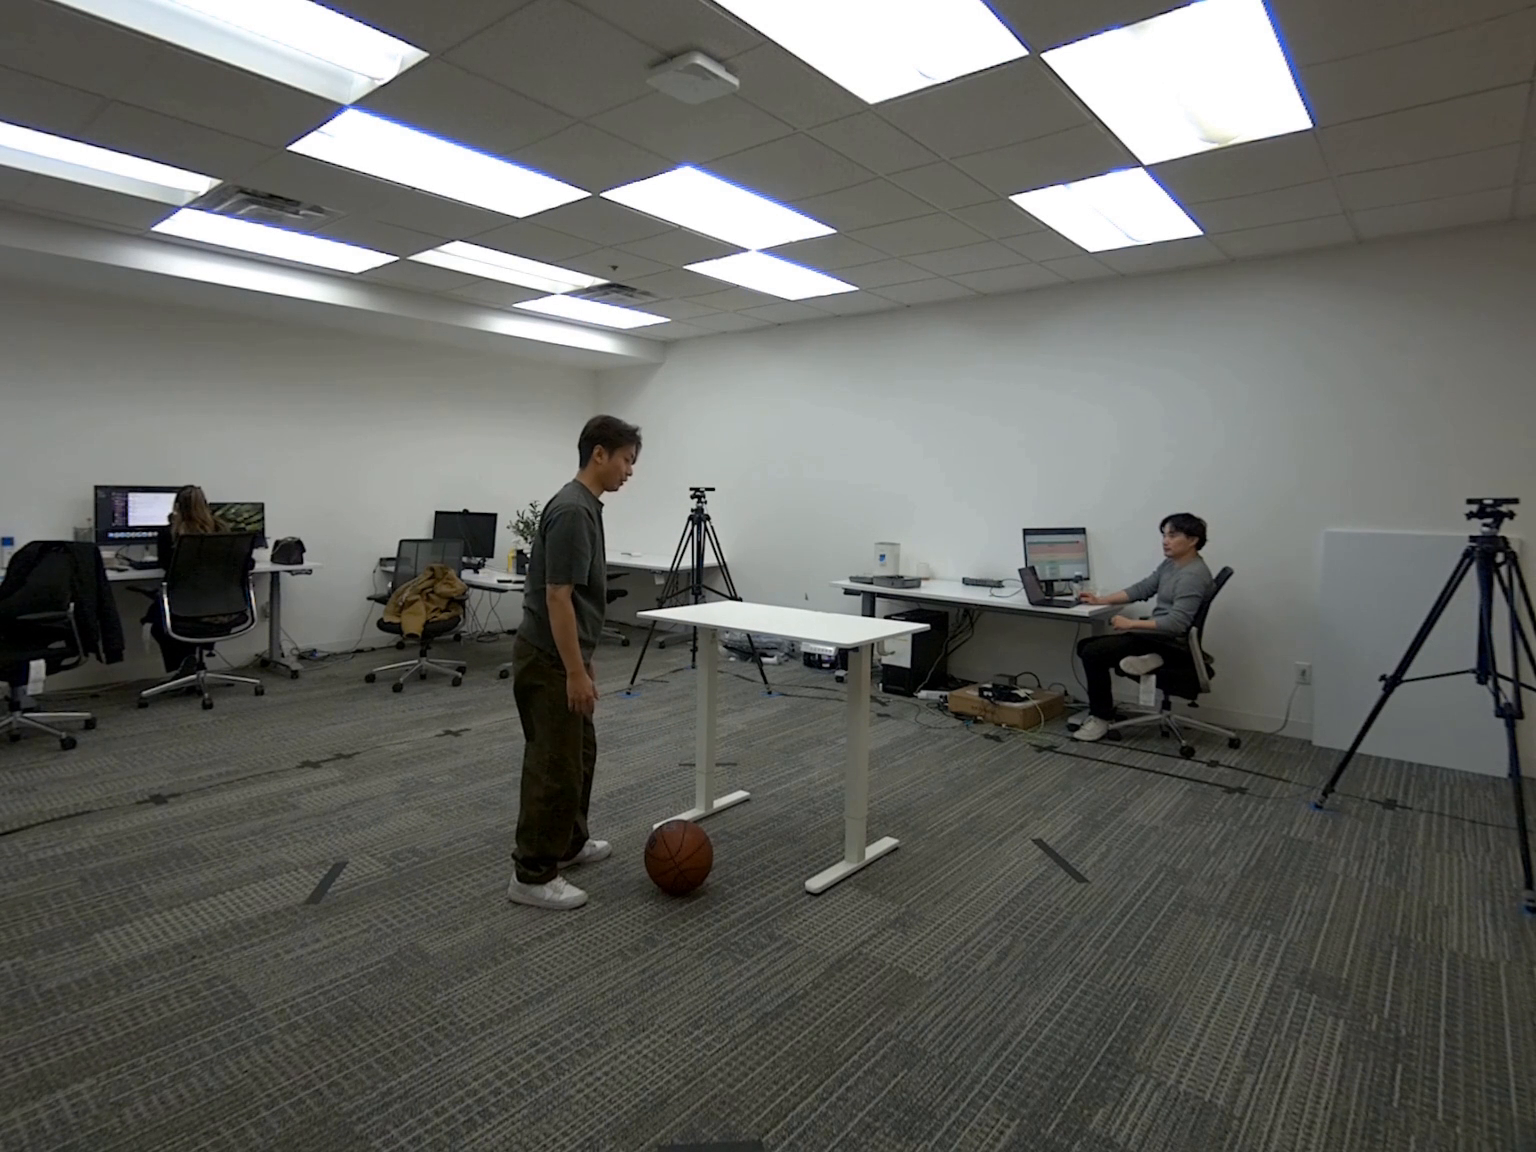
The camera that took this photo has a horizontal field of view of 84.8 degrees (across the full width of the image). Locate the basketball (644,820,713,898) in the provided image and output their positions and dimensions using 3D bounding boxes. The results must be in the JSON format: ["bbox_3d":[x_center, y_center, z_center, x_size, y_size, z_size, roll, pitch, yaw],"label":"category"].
[{"bbox_3d":[-0.320,0.964,2.925,0.235,0.235,0.237,1,4,-2],"label":"basketball"}]
